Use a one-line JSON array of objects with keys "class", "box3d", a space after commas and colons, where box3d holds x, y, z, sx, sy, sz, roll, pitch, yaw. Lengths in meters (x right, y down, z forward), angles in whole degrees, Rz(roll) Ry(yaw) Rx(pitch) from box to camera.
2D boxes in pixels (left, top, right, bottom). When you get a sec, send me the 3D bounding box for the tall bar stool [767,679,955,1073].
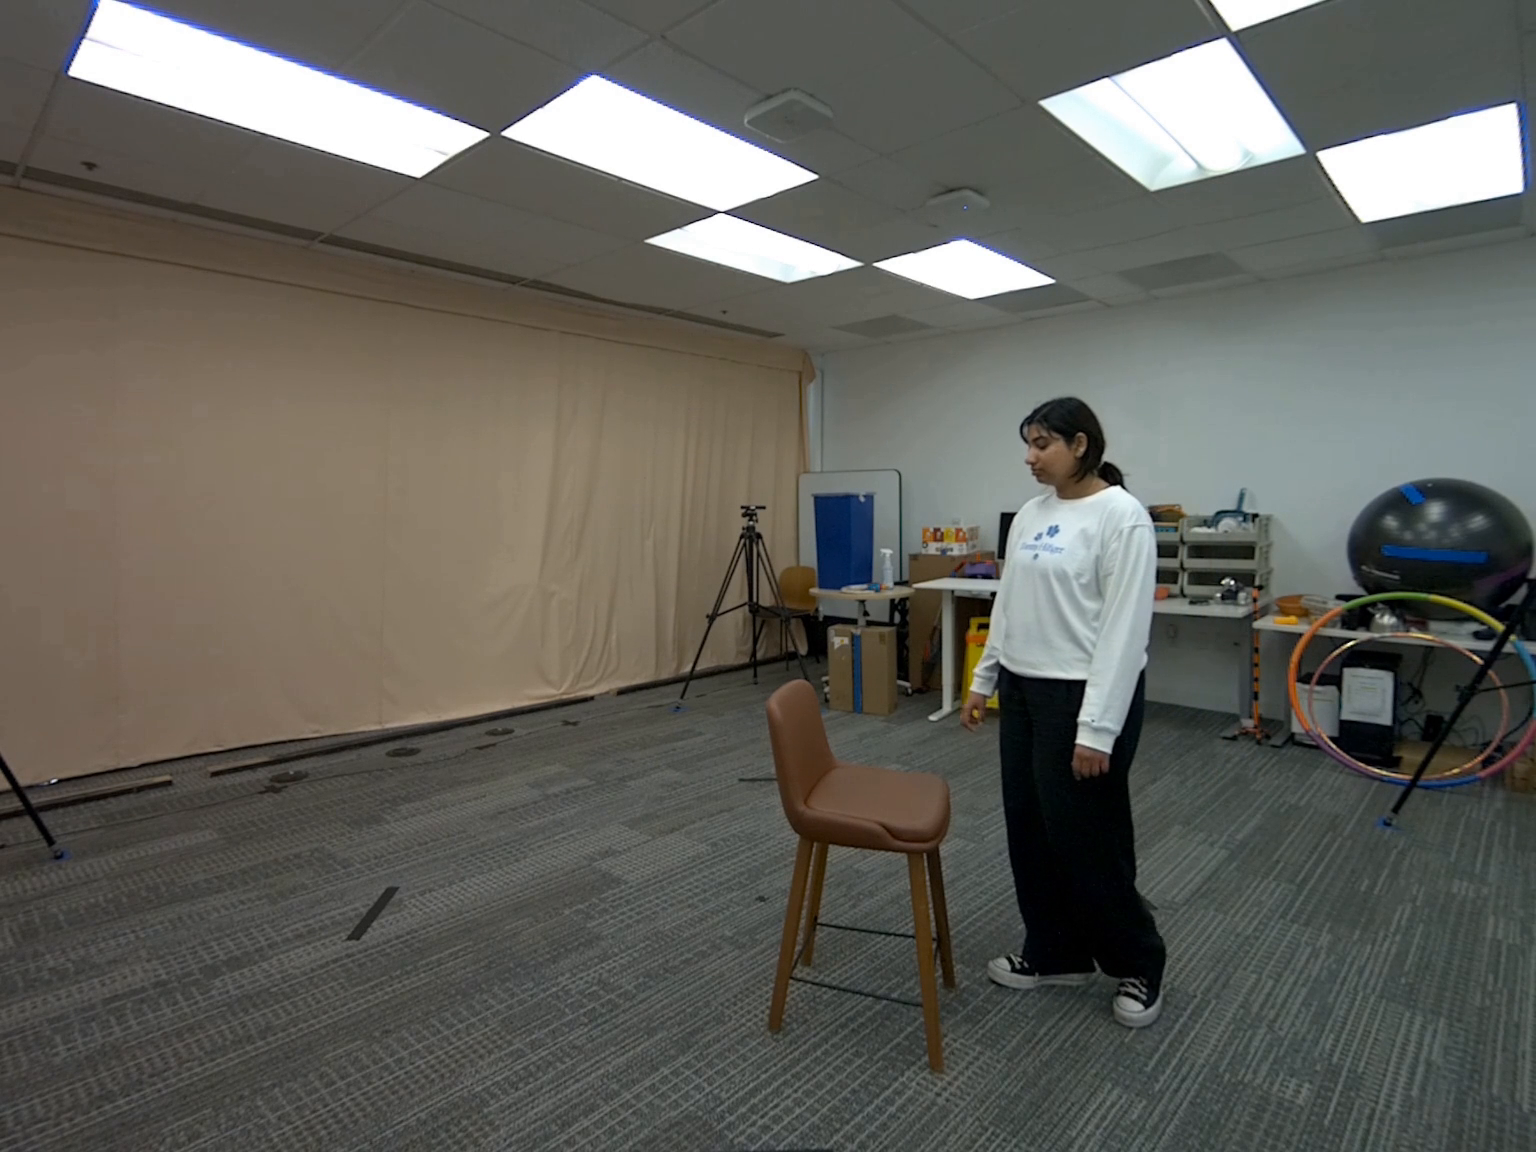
[{"class": "tall bar stool", "box3d": [0.275, 0.767, 2.310, 0.478, 0.888, 0.447, 0, 3, 20]}]
